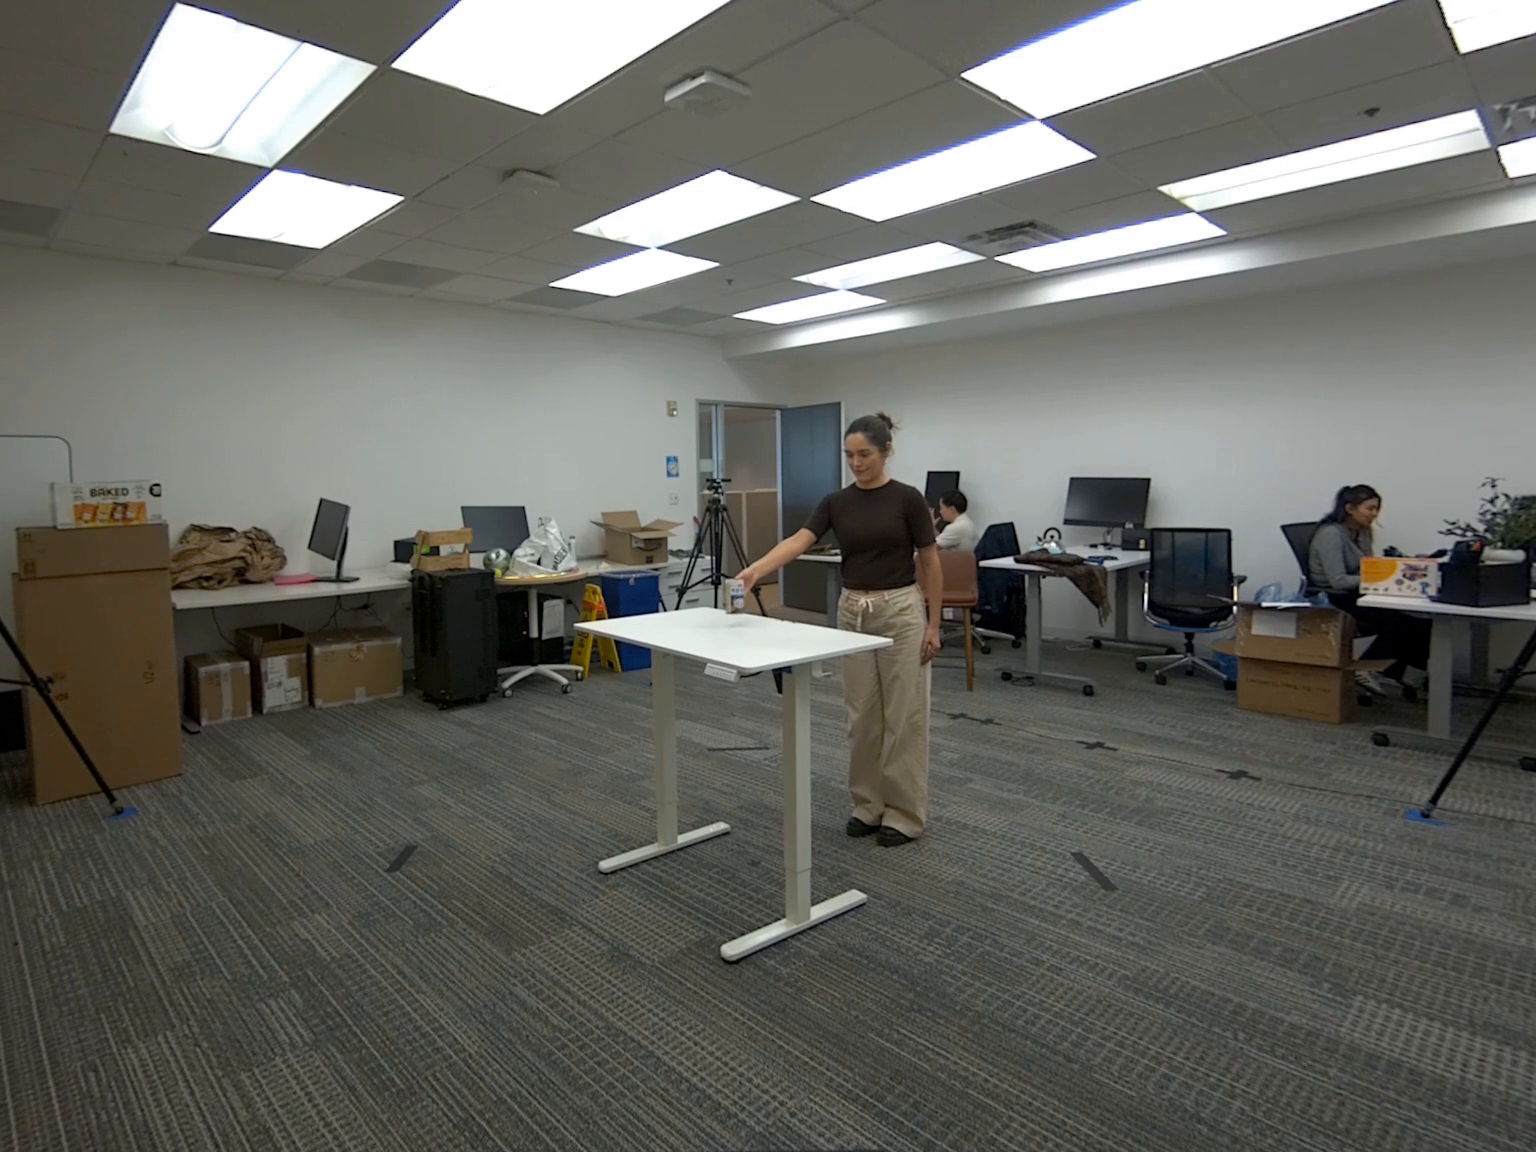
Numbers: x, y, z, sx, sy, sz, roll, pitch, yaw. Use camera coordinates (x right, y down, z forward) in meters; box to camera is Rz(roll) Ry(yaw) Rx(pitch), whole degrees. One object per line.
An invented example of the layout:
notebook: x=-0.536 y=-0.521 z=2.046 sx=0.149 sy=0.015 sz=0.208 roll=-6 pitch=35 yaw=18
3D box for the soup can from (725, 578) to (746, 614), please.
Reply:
soup can: x=-0.111 y=0.069 z=2.977 sx=0.067 sy=0.121 sz=0.067 roll=1 pitch=2 yaw=-2
